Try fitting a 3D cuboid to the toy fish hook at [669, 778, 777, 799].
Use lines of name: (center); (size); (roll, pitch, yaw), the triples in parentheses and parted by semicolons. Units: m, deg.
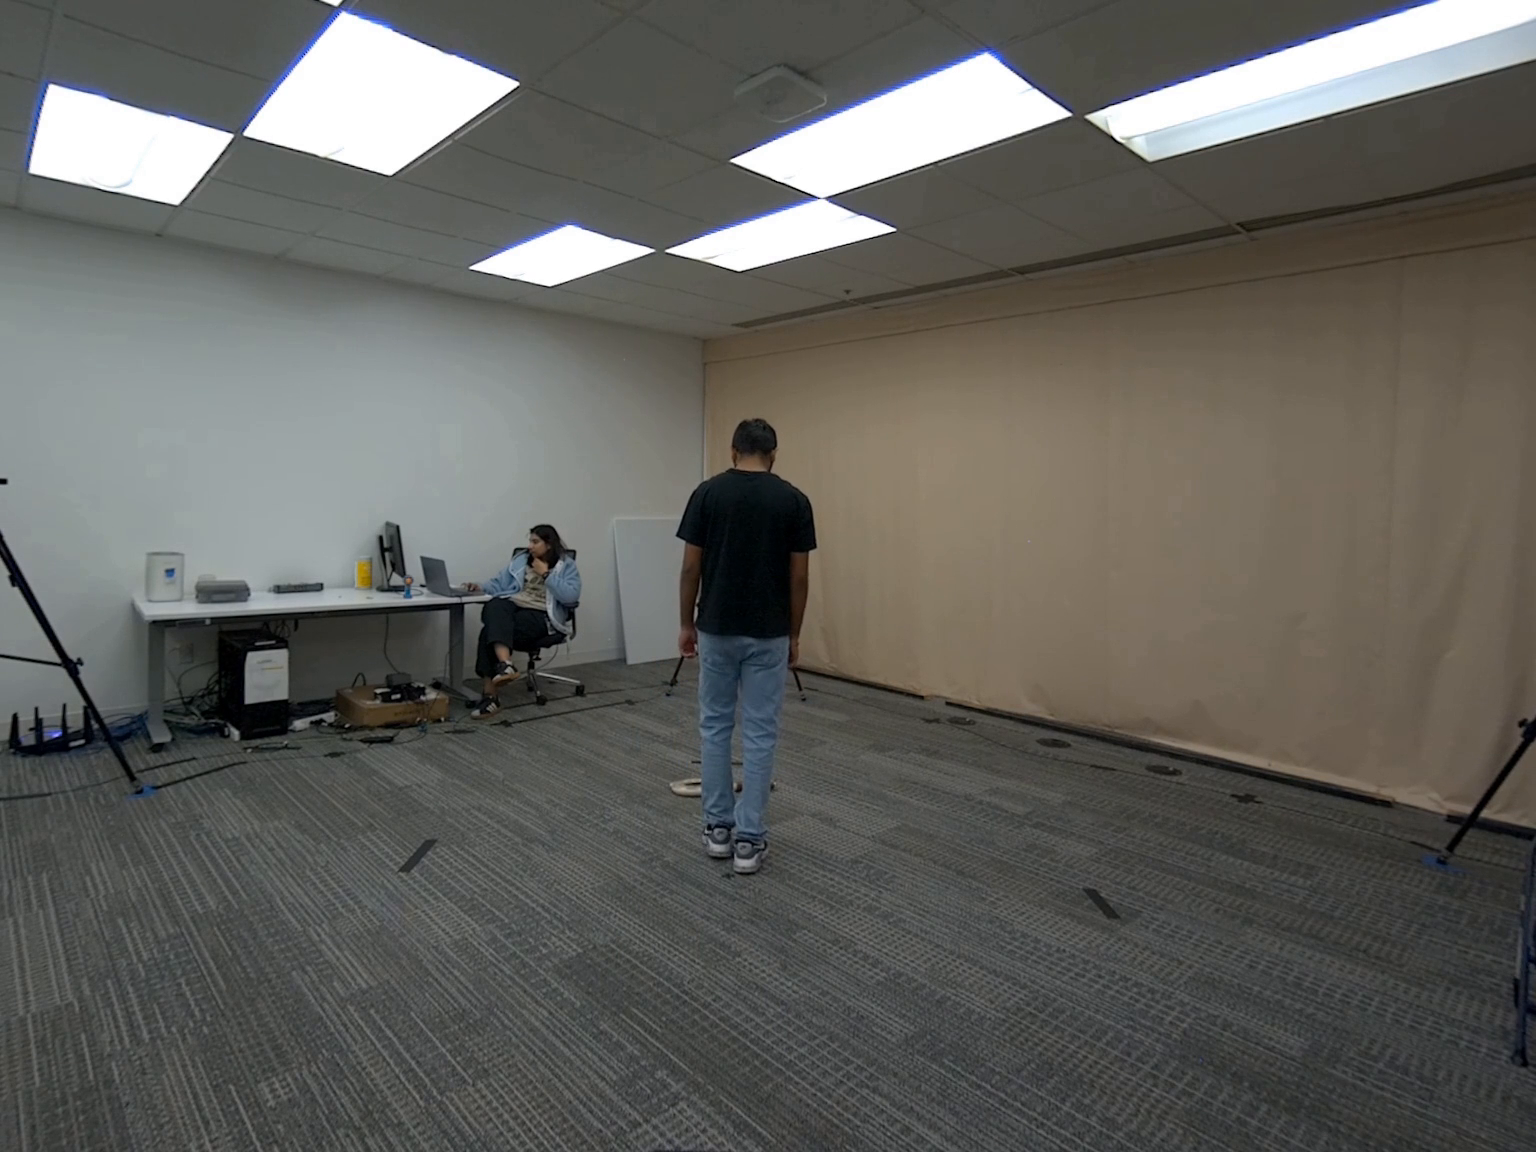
toy fish hook: (-0.228, 1.002, 4.054); (0.501, 0.048, 0.228); (1, 6, -14)
